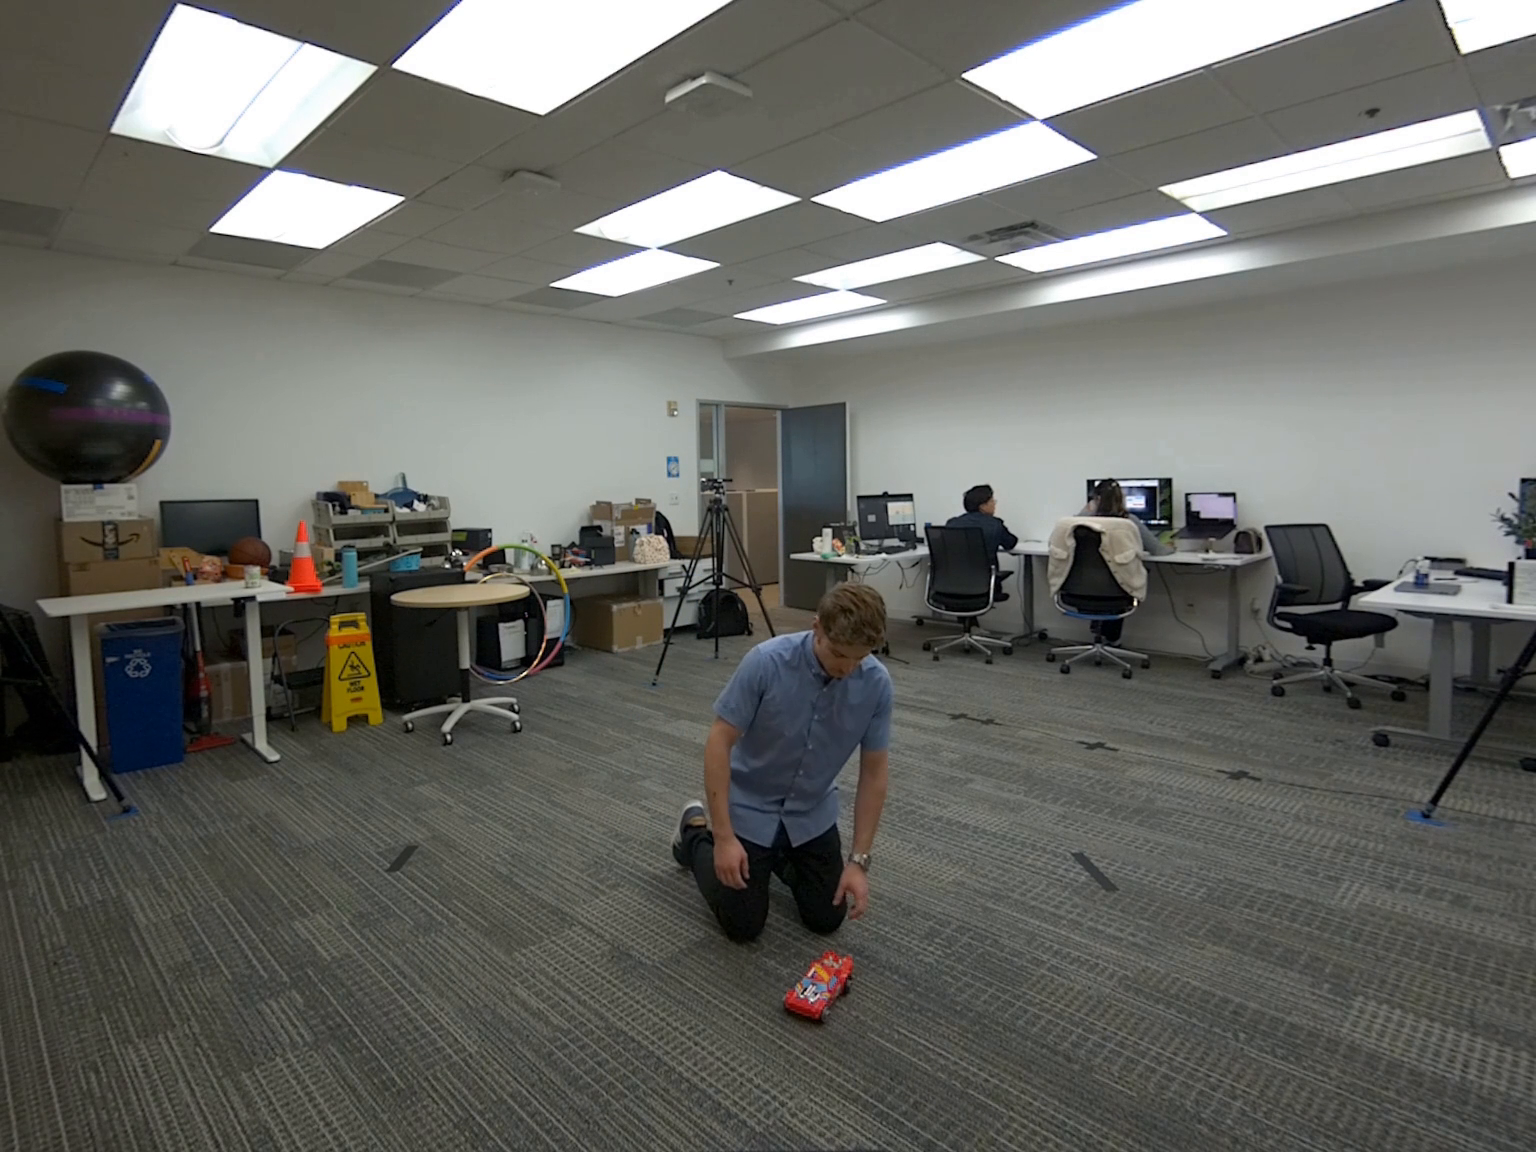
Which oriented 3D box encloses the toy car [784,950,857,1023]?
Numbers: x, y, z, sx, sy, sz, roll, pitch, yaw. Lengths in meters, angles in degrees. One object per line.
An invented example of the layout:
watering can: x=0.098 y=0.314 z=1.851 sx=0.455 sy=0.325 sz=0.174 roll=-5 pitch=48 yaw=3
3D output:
toy car: x=0.153 y=1.109 z=2.300 sx=0.134 sy=0.082 sz=0.252 roll=3 pitch=20 yaw=29
